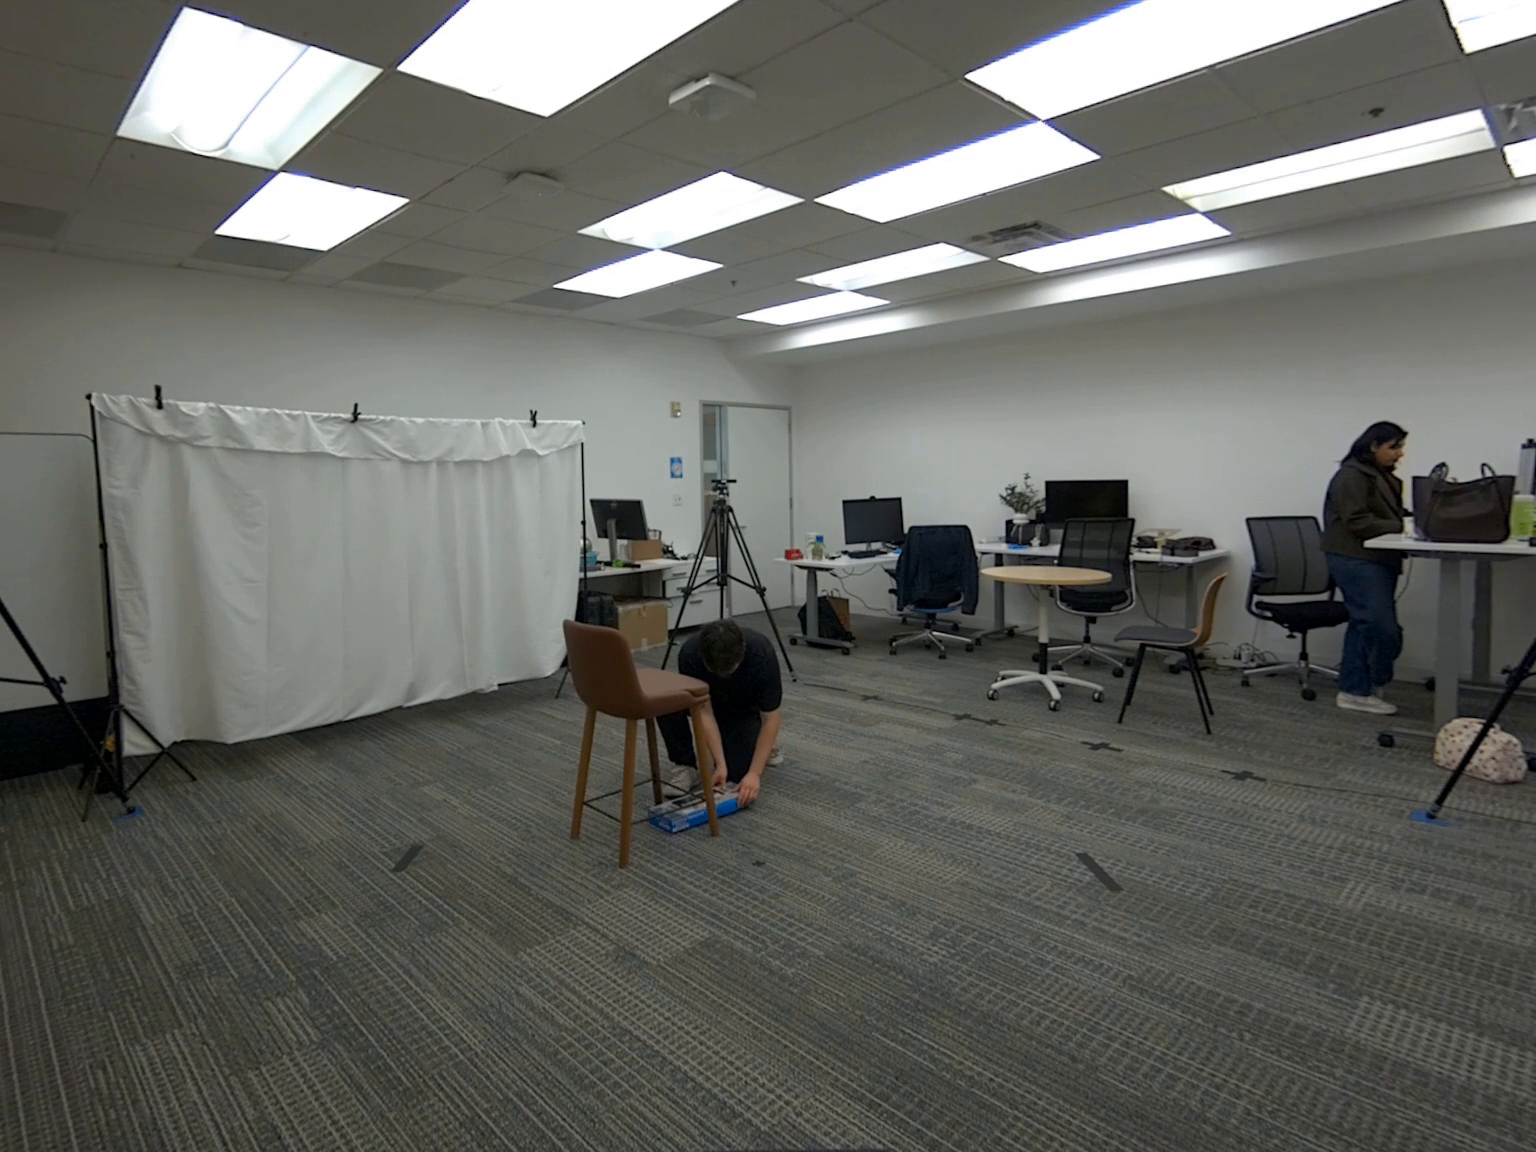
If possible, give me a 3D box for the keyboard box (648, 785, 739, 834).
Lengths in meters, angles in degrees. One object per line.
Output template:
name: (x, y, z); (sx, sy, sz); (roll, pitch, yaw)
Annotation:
keyboard box: (-0.281, 0.971, 3.573); (0.426, 0.059, 0.181); (-8, 8, -38)
